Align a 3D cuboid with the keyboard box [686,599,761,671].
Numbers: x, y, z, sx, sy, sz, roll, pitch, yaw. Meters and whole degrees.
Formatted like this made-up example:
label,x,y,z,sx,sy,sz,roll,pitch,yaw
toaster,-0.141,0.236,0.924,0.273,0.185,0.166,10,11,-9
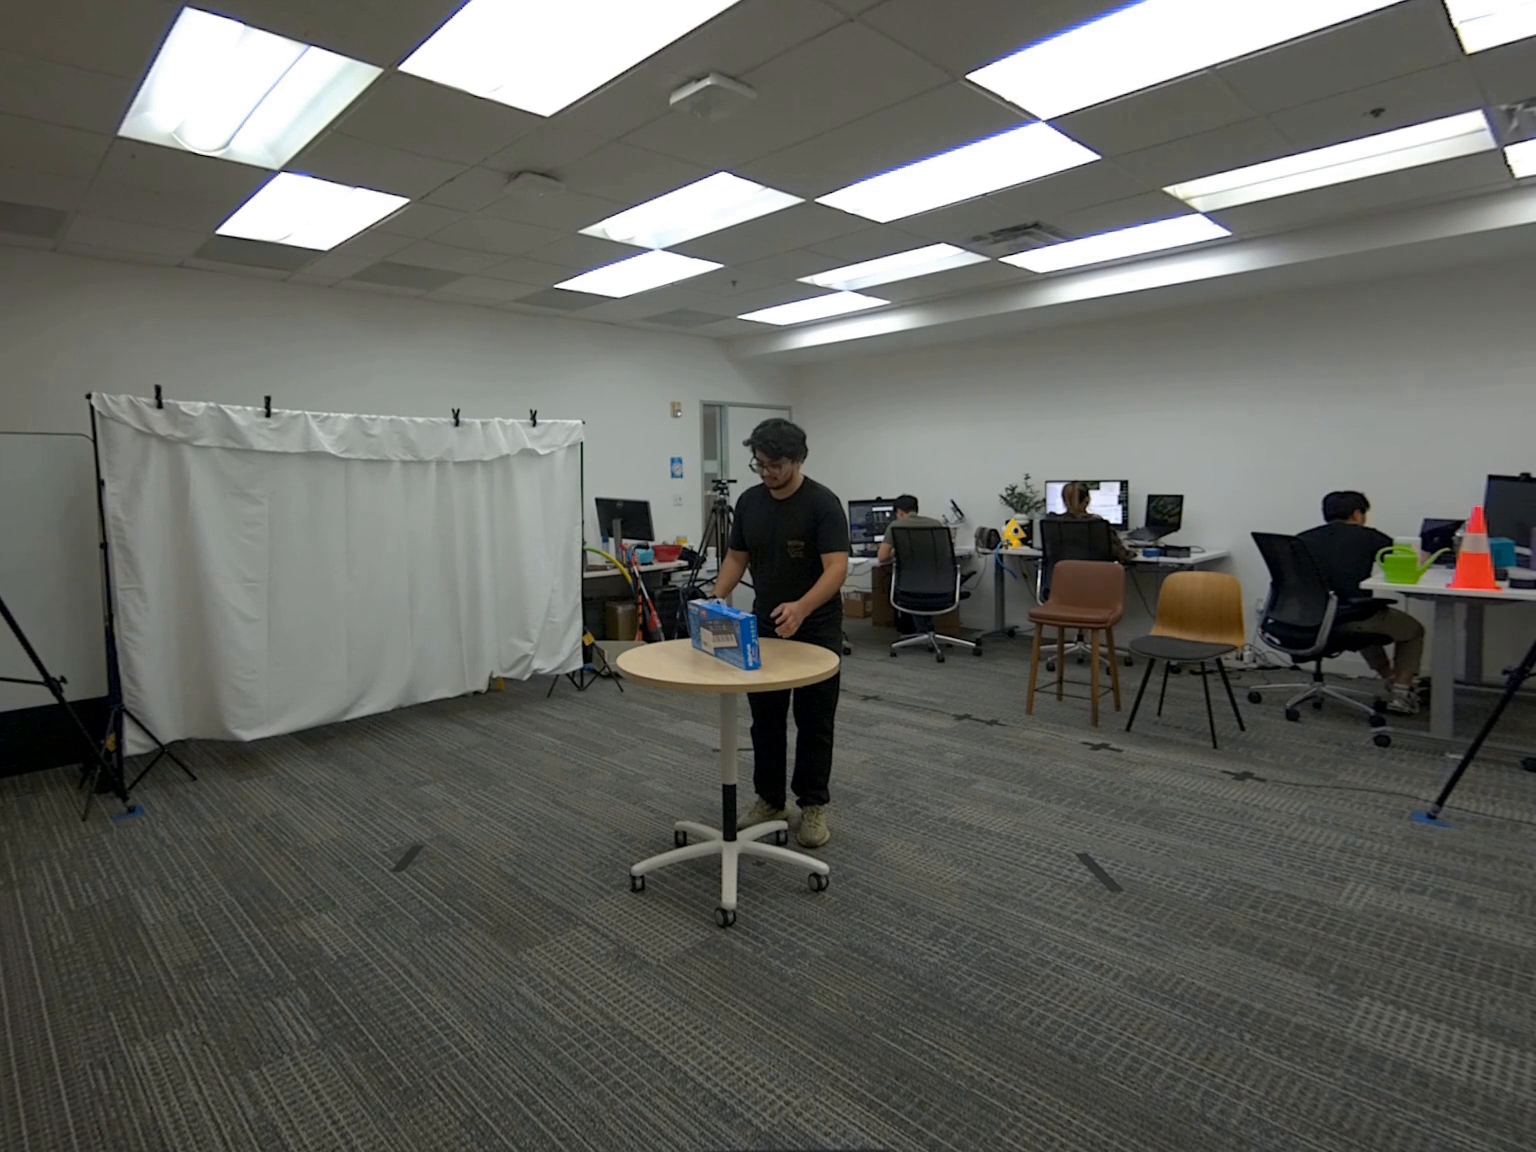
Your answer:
label,x,y,z,sx,sy,sz,roll,pitch,yaw
keyboard box,-0.160,0.199,2.946,0.058,0.175,0.448,-6,8,-26
